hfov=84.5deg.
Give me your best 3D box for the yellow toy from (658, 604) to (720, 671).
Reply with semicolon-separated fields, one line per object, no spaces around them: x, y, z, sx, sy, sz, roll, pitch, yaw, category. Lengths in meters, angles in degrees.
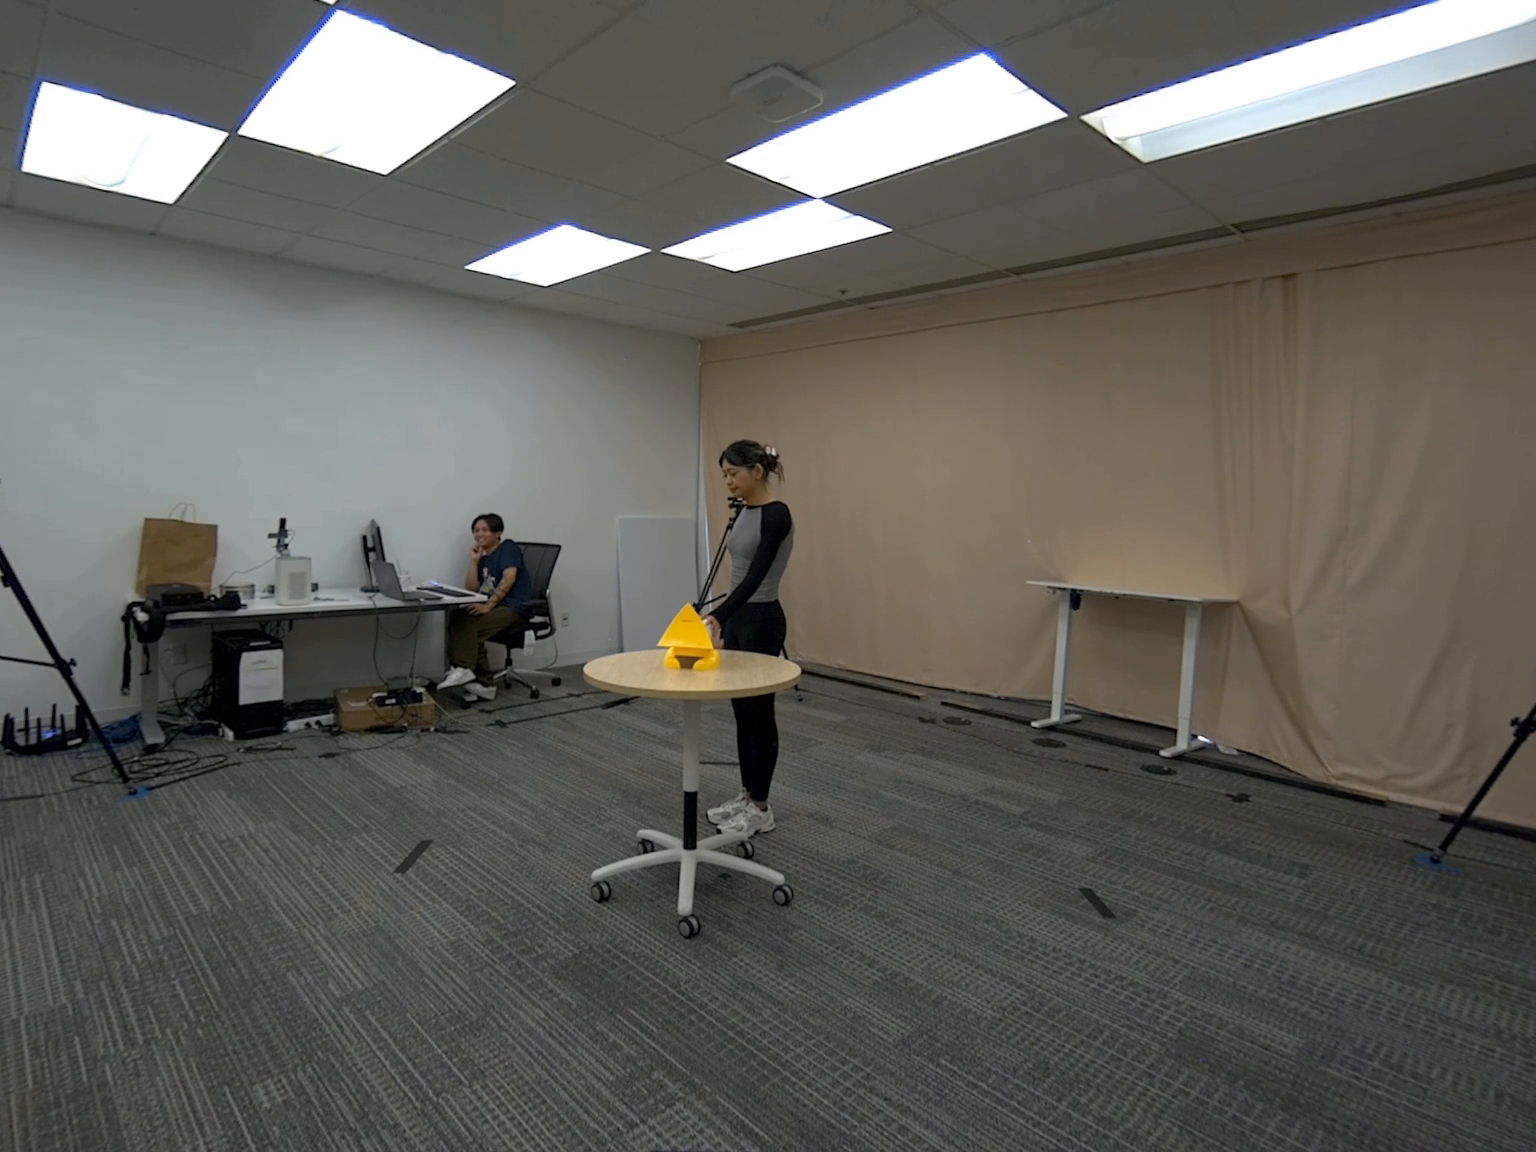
-0.282;0.207;3.018;0.207;0.230;0.191;3;4;12;yellow toy
